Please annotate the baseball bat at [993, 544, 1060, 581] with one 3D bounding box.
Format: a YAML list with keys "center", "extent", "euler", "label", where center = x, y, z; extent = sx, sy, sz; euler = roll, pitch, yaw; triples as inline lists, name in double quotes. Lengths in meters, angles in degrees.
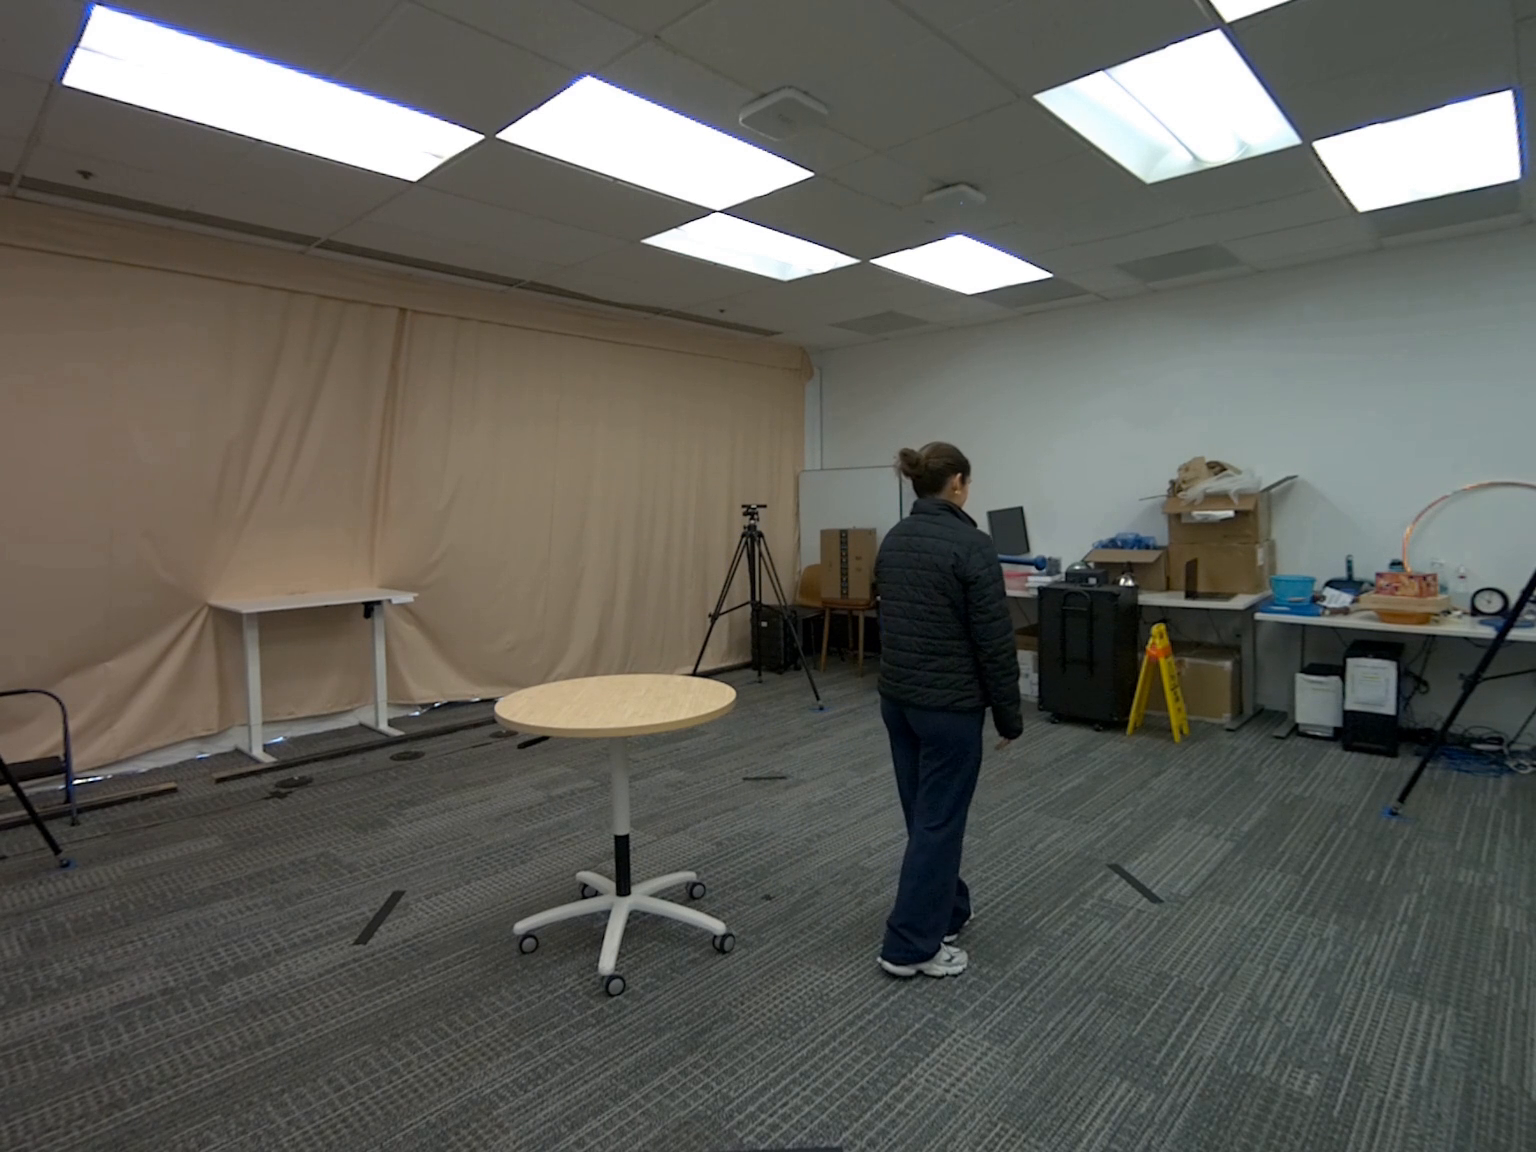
- center: [0.735, -0.063, 2.885]
  extent: [0.087, 0.089, 0.559]
  euler: [-3, 7, -30]
  label: "baseball bat"
